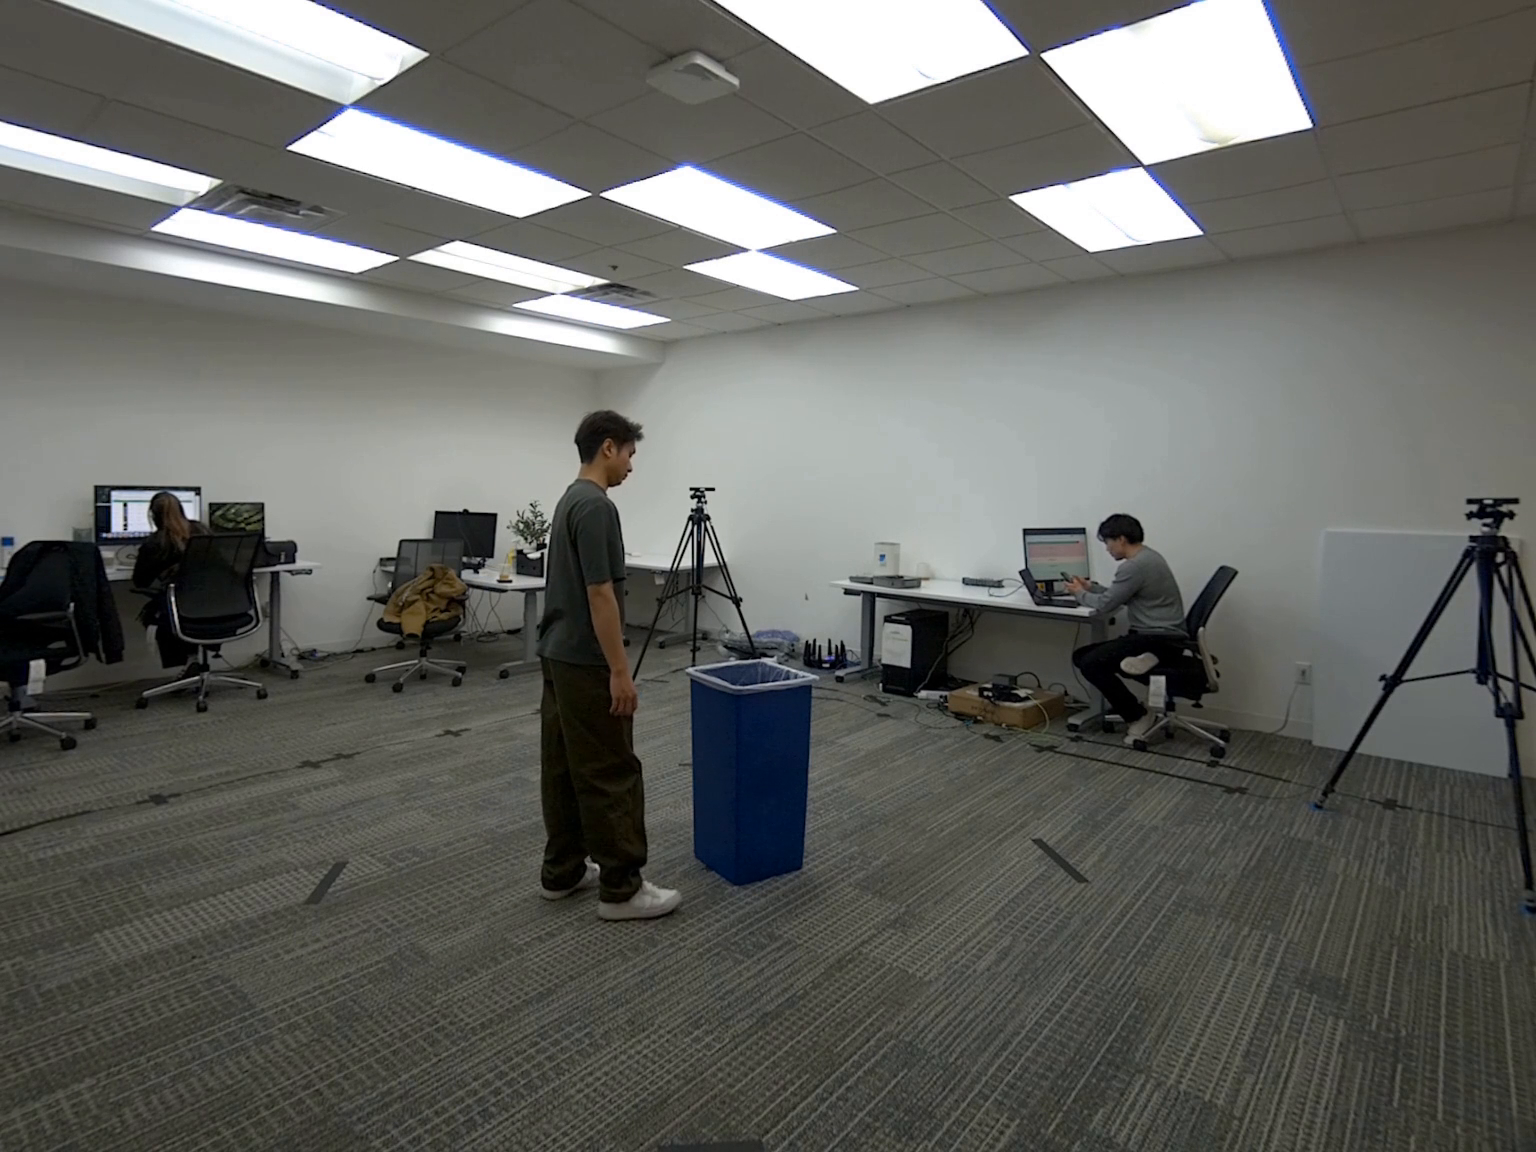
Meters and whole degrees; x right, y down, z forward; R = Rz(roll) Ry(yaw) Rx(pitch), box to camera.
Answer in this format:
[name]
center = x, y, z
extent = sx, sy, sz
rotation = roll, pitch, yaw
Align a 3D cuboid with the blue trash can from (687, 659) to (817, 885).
[blue trash can]
center = -0.087, 0.705, 3.156
extent = 0.367, 0.711, 0.386
rotation = -2, 5, -35
